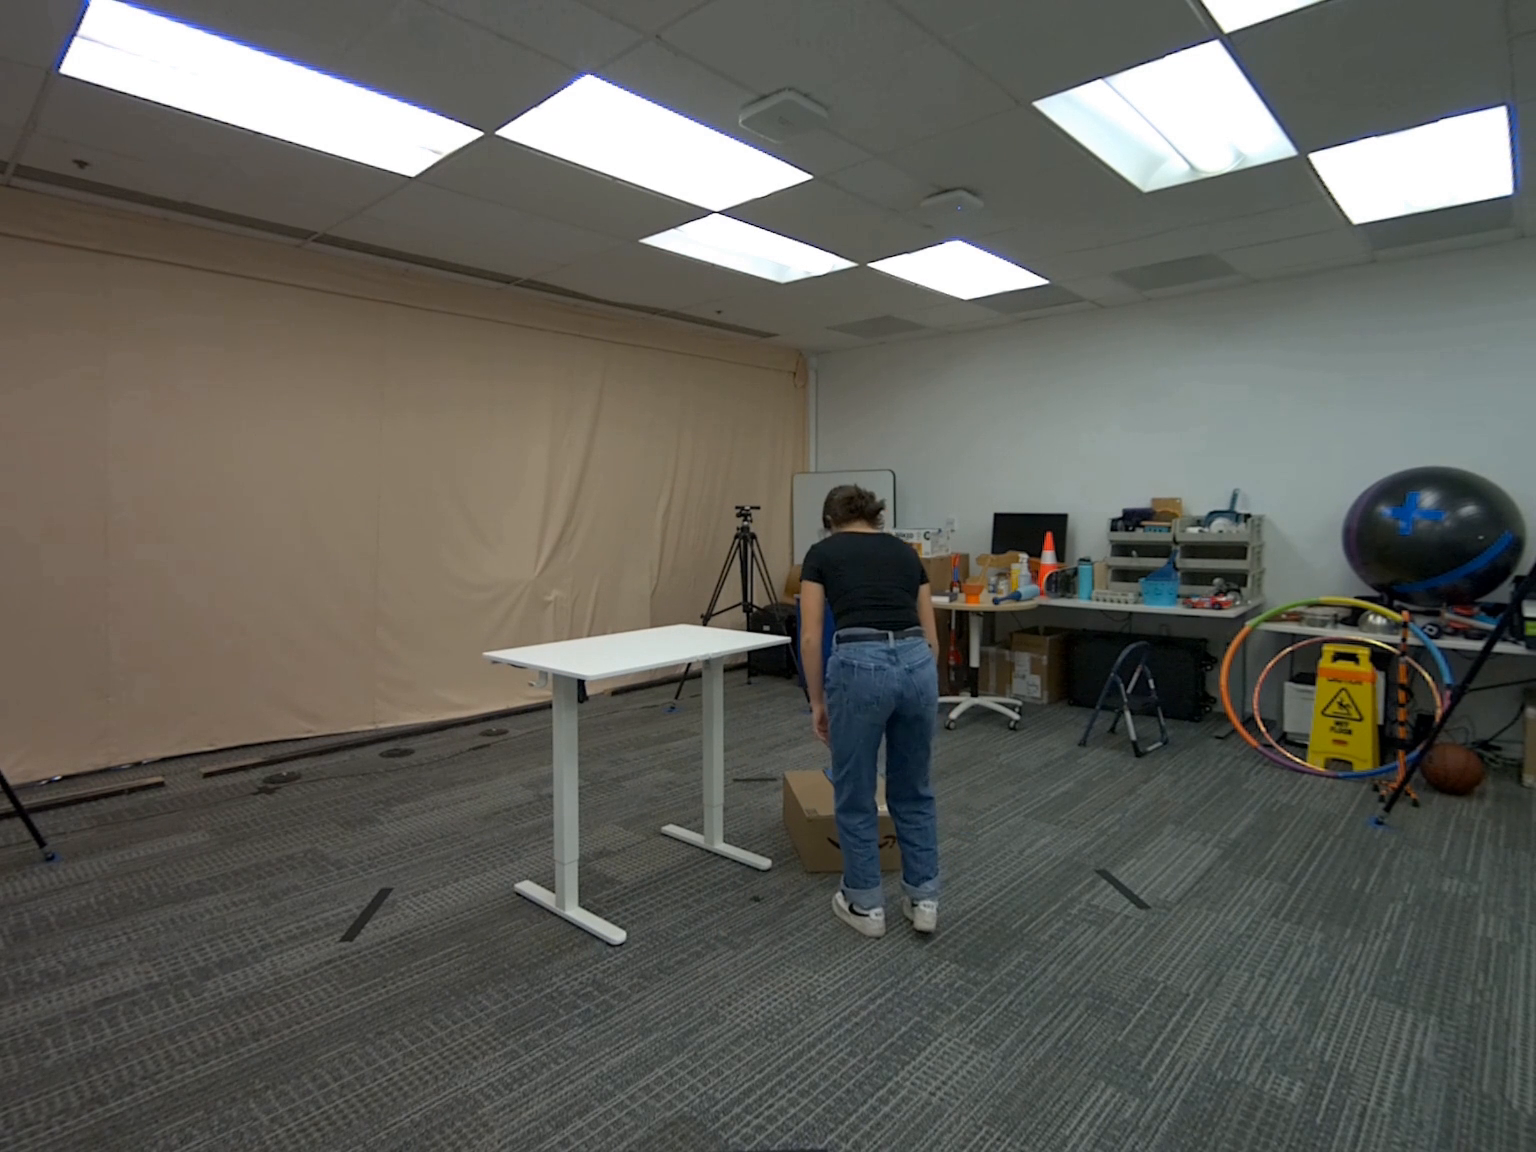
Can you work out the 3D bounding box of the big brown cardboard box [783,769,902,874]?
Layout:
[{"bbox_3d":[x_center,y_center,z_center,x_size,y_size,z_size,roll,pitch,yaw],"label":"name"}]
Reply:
[{"bbox_3d":[0.314,0.992,3.468,0.415,0.233,0.594,0,4,-8],"label":"big brown cardboard box"}]
